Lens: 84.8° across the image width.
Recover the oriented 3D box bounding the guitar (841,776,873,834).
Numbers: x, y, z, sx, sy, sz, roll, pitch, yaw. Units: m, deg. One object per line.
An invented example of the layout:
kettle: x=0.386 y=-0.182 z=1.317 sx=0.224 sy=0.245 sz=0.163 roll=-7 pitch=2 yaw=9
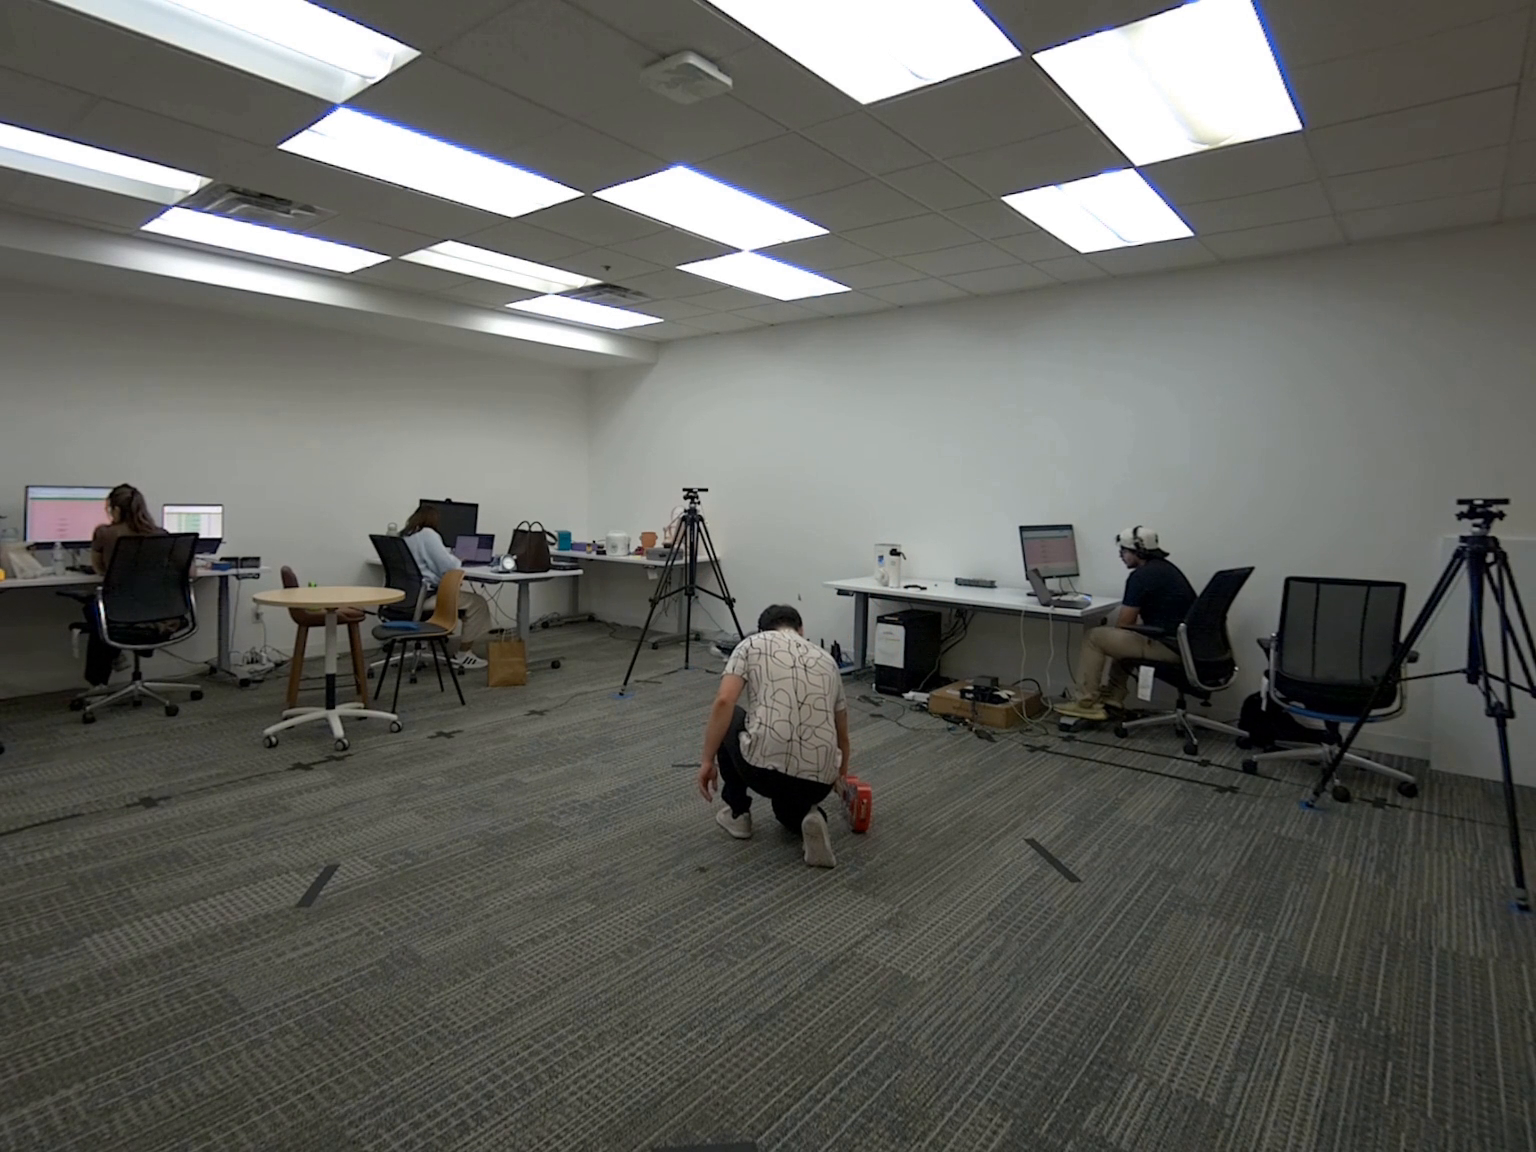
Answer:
guitar: x=0.332 y=0.903 z=3.682 sx=0.070 sy=0.191 sz=0.508 roll=4 pitch=13 yaw=-12
